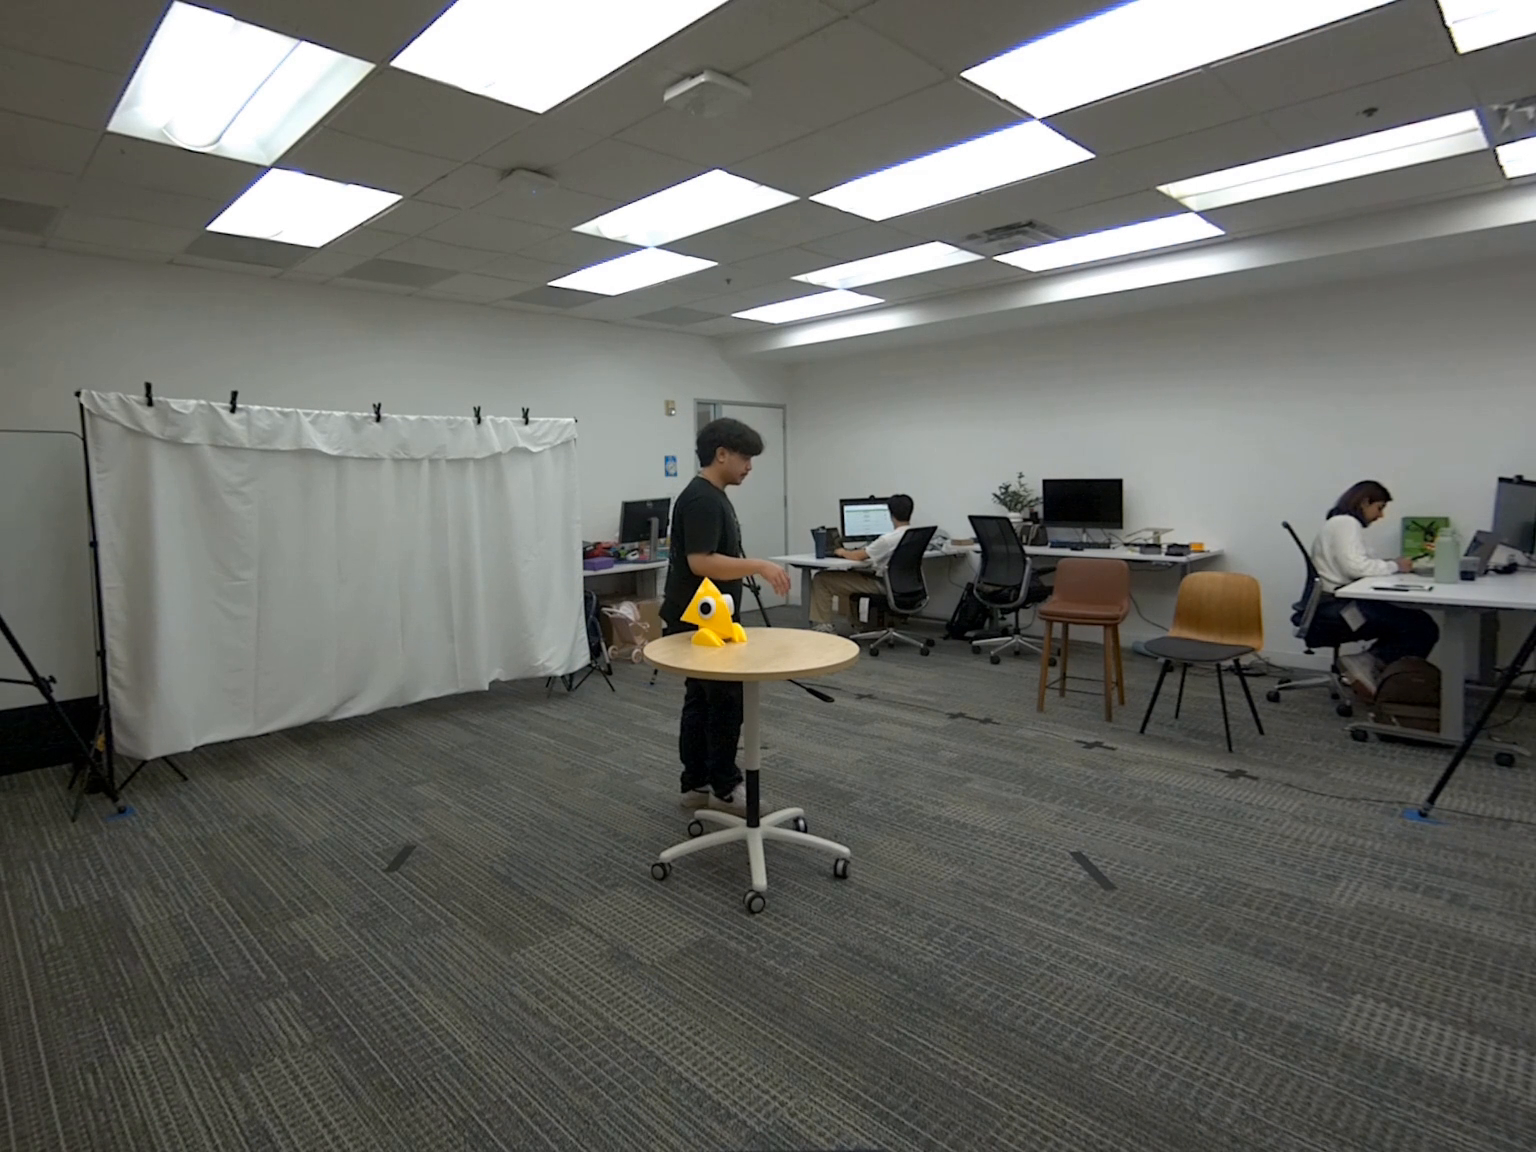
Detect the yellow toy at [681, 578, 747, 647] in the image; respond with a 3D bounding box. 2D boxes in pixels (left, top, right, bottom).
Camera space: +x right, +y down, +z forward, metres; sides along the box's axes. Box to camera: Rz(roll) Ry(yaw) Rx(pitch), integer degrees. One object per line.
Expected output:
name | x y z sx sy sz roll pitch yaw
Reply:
yellow toy | -0.190 0.127 3.173 0.199 0.229 0.199 -6 8 -43
